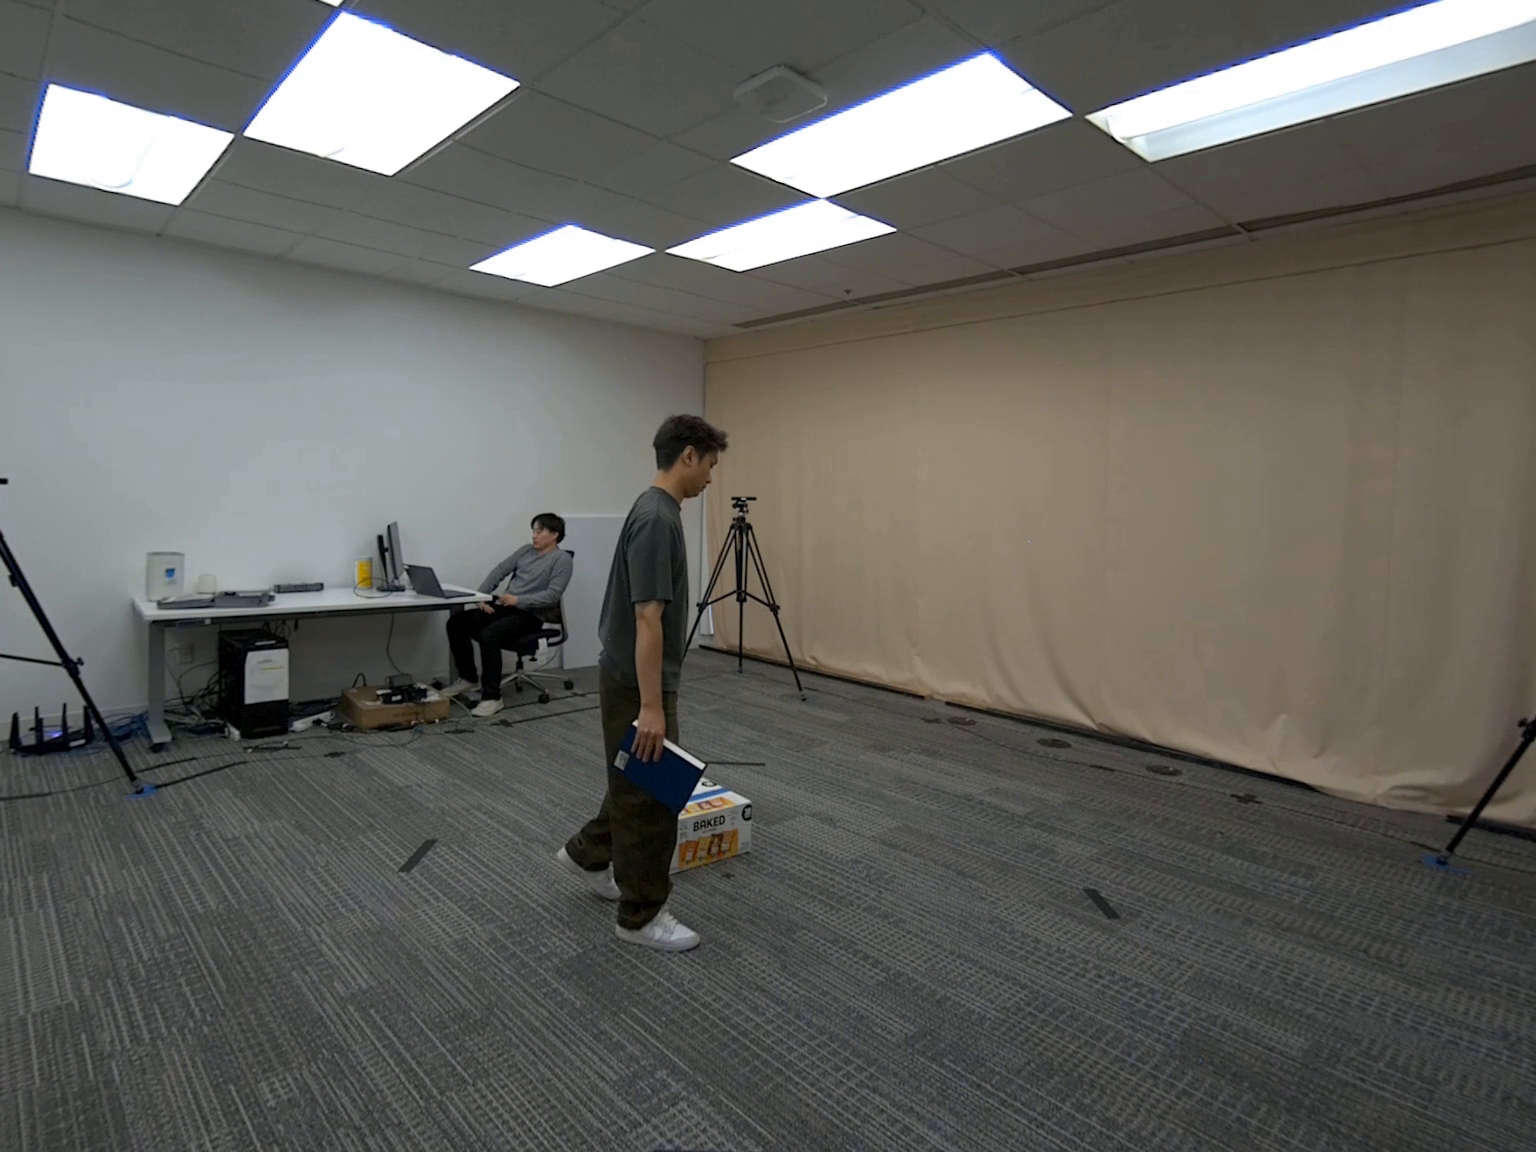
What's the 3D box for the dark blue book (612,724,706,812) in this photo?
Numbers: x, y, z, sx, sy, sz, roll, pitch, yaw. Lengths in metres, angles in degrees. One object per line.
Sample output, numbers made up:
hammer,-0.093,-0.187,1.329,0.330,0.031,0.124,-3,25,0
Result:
dark blue book,-0.318,0.541,2.392,0.247,0.162,0.045,30,19,9
